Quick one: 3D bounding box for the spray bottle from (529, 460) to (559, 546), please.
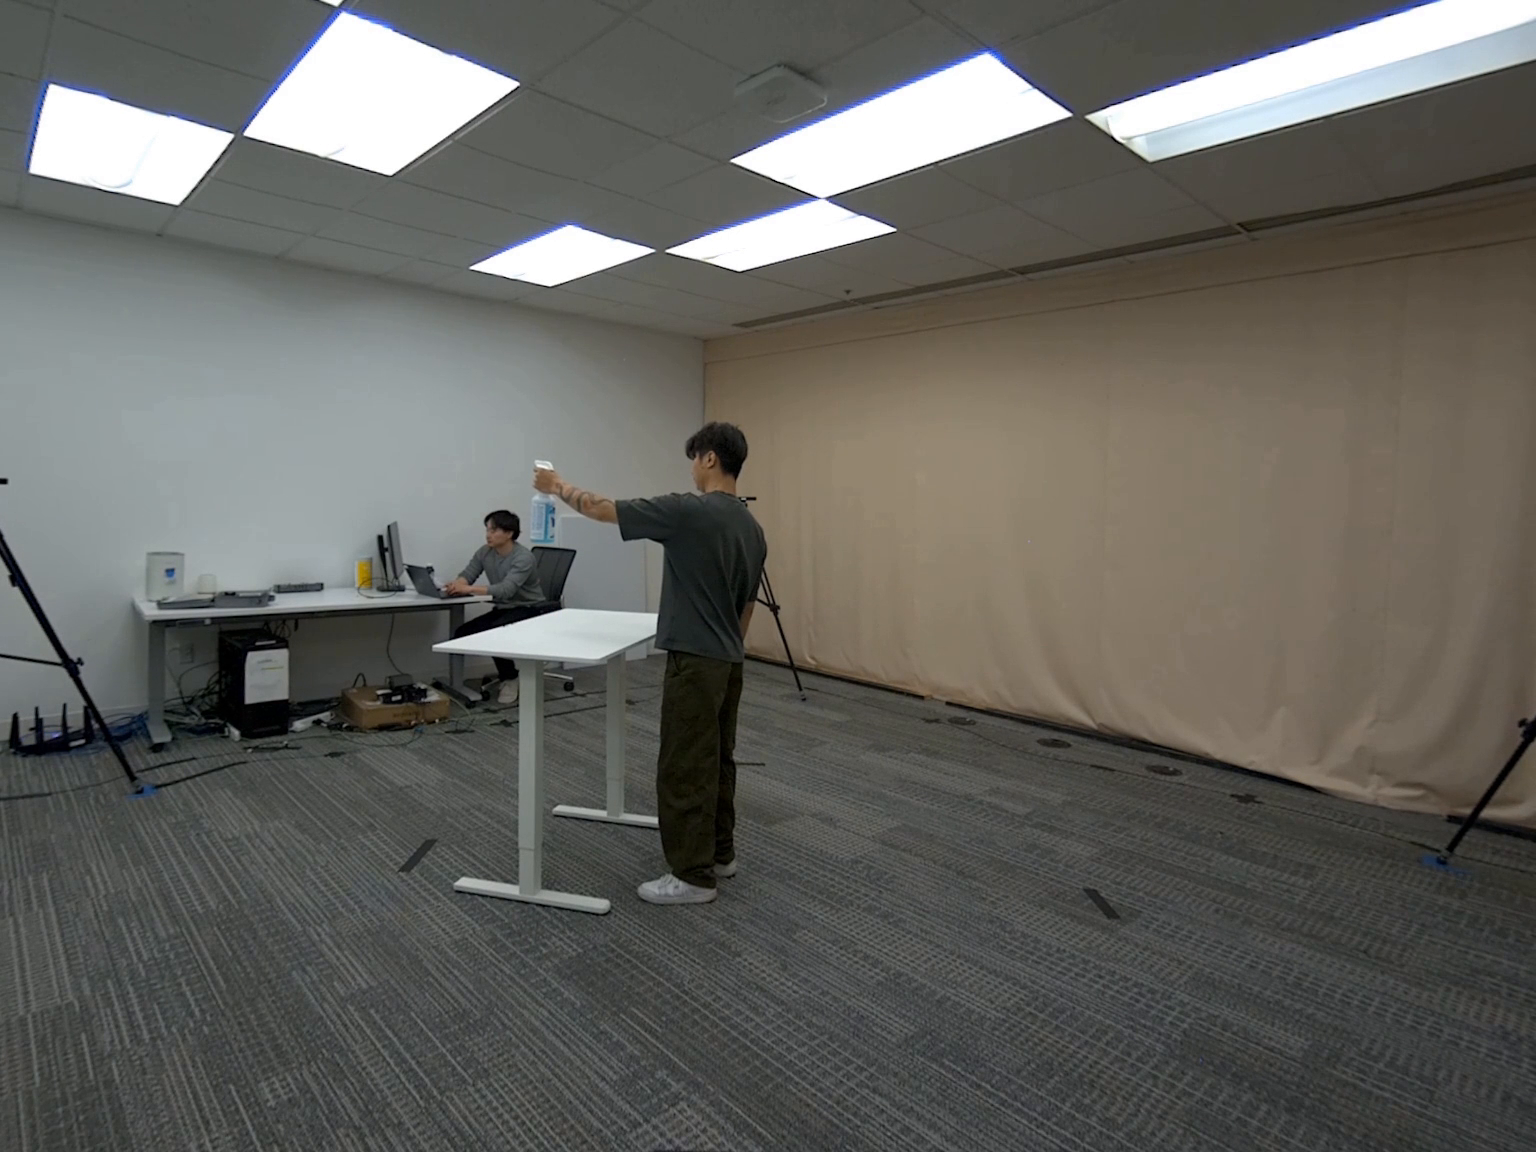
[{"bbox_3d":[-0.818,-0.267,3.074,0.085,0.296,0.092,2,5,-34],"label":"spray bottle"}]
